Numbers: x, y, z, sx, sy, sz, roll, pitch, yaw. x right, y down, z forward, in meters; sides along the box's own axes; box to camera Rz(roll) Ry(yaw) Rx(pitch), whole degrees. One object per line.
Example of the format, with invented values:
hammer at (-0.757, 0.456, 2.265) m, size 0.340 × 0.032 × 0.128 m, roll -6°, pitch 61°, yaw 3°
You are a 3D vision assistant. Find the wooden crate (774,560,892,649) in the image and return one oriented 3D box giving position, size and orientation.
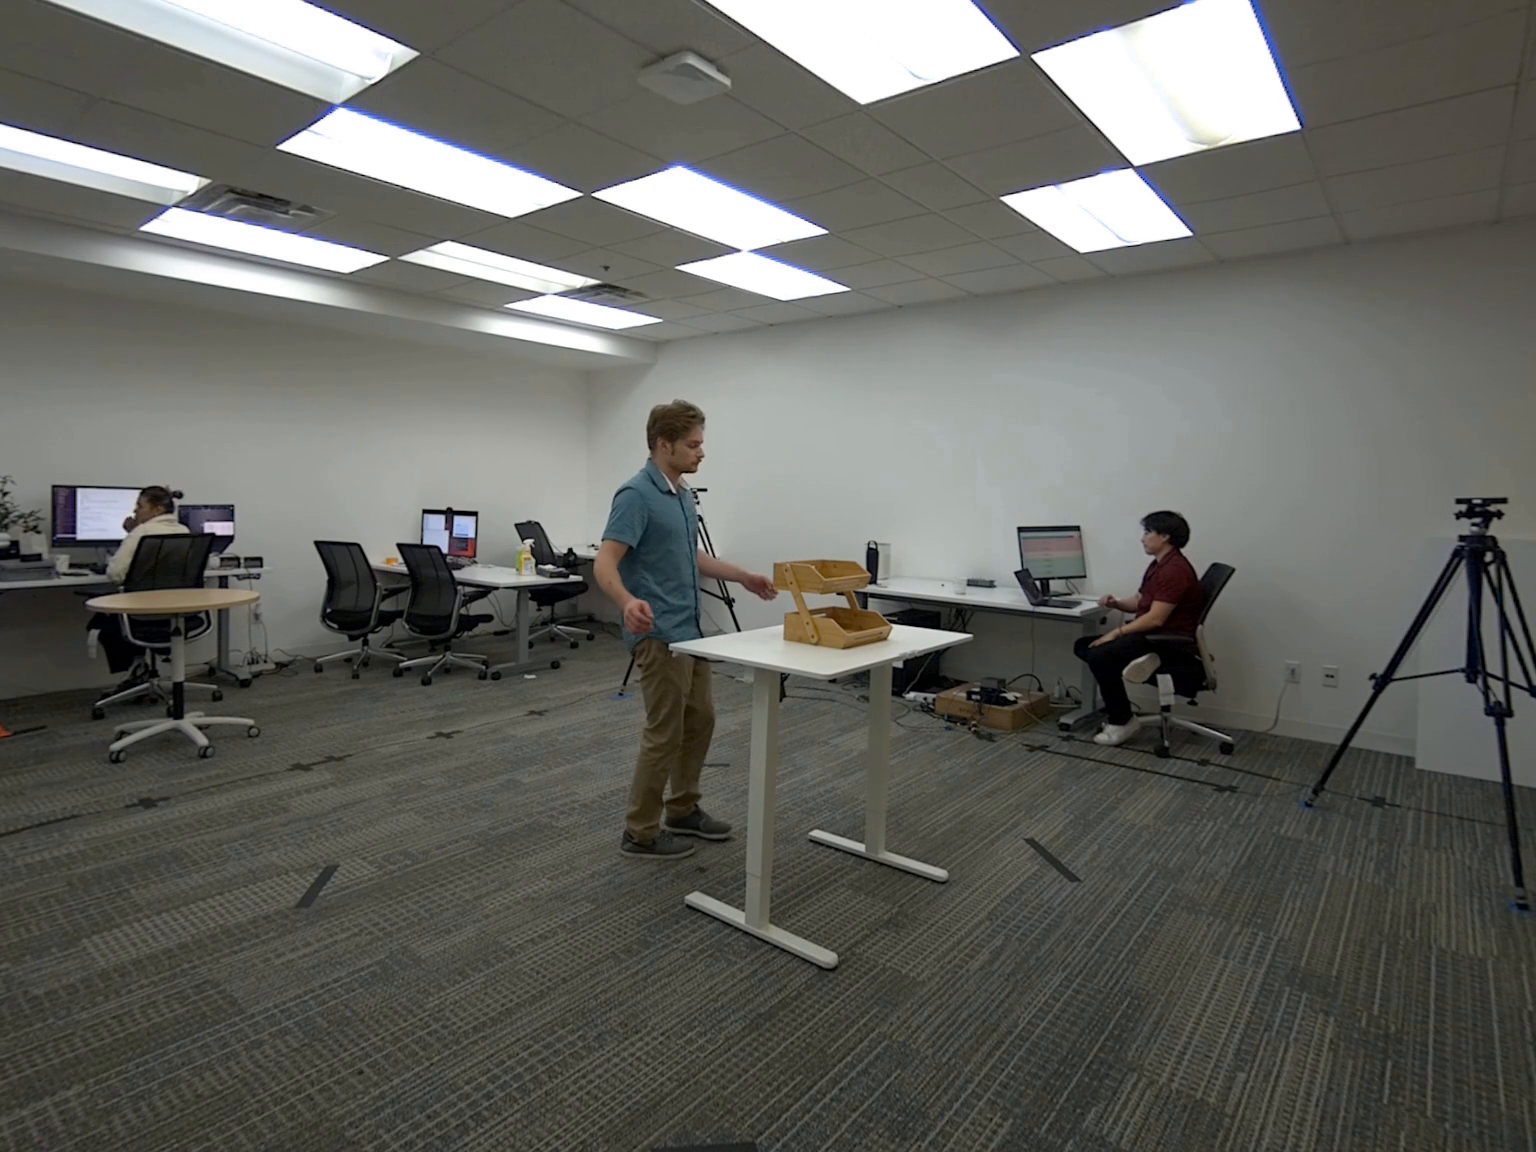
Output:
wooden crate at (0.223, 0.083, 2.920) m, size 0.312 × 0.272 × 0.315 m, roll 4°, pitch 5°, yaw 39°
